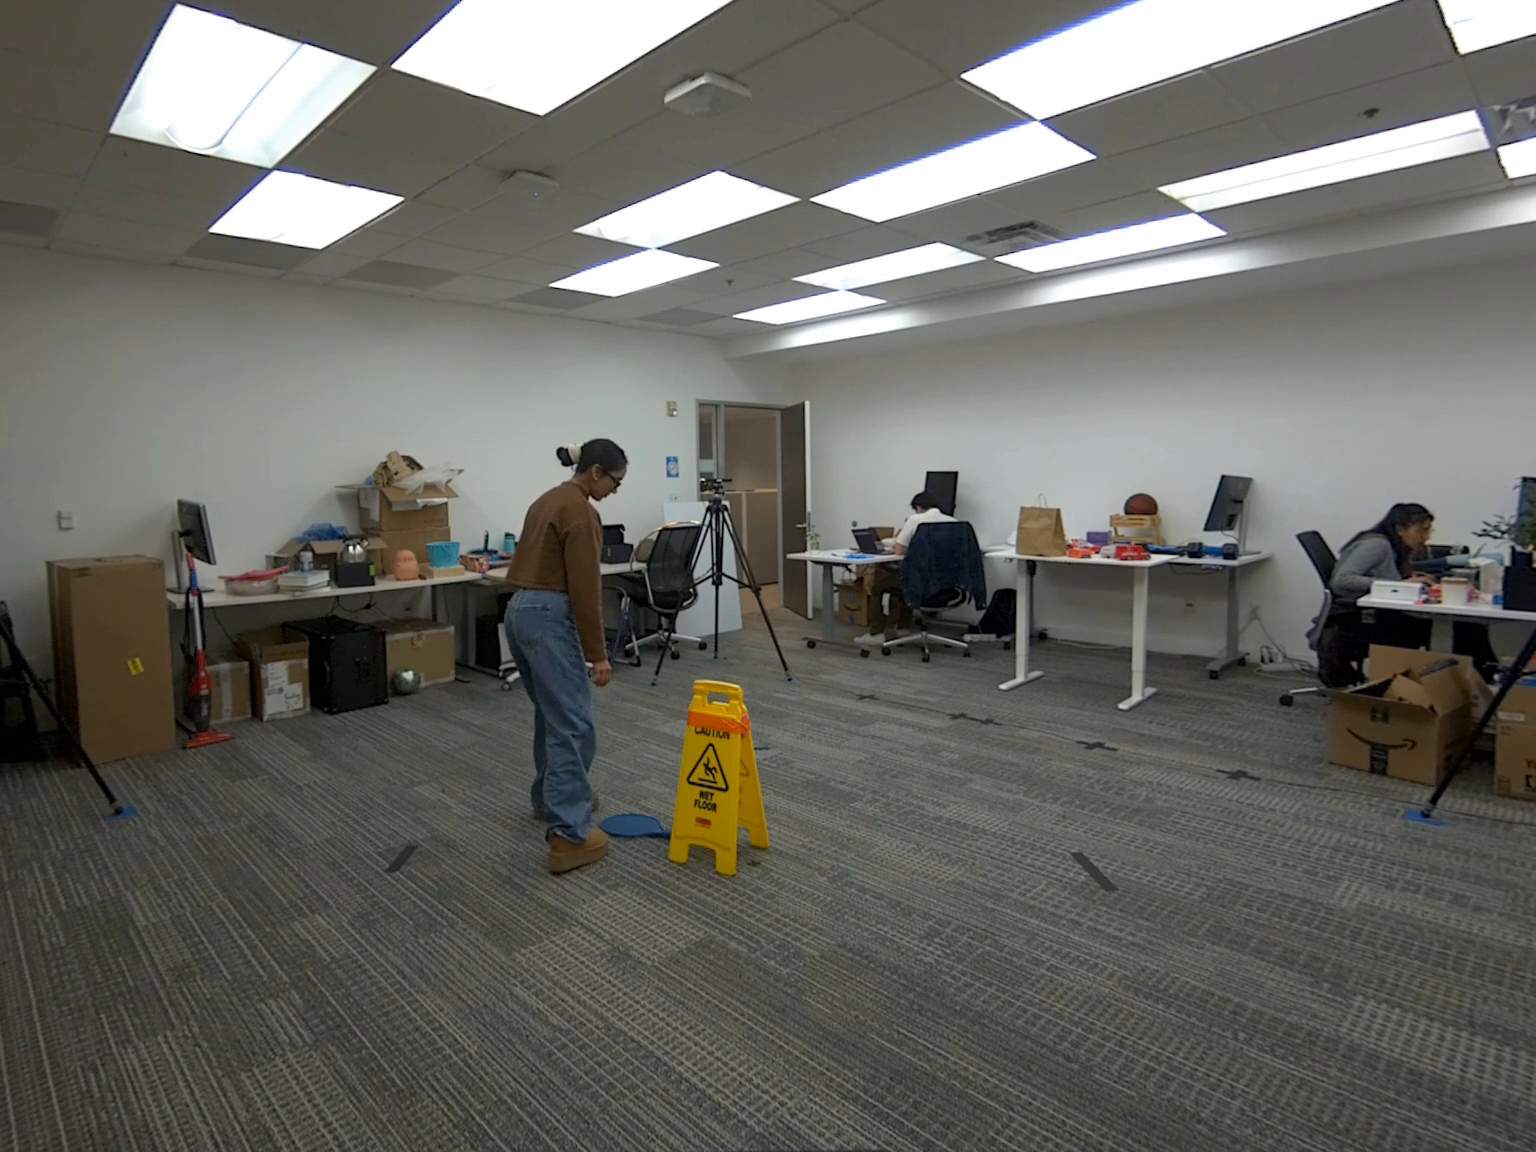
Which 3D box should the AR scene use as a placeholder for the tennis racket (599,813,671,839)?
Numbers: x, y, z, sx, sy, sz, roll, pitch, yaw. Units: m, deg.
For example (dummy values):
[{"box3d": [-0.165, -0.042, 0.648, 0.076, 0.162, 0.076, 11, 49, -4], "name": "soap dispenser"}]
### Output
[{"box3d": [-0.482, 1.005, 3.396, 0.445, 0.031, 0.208, 2, 6, 35], "name": "tennis racket"}]
